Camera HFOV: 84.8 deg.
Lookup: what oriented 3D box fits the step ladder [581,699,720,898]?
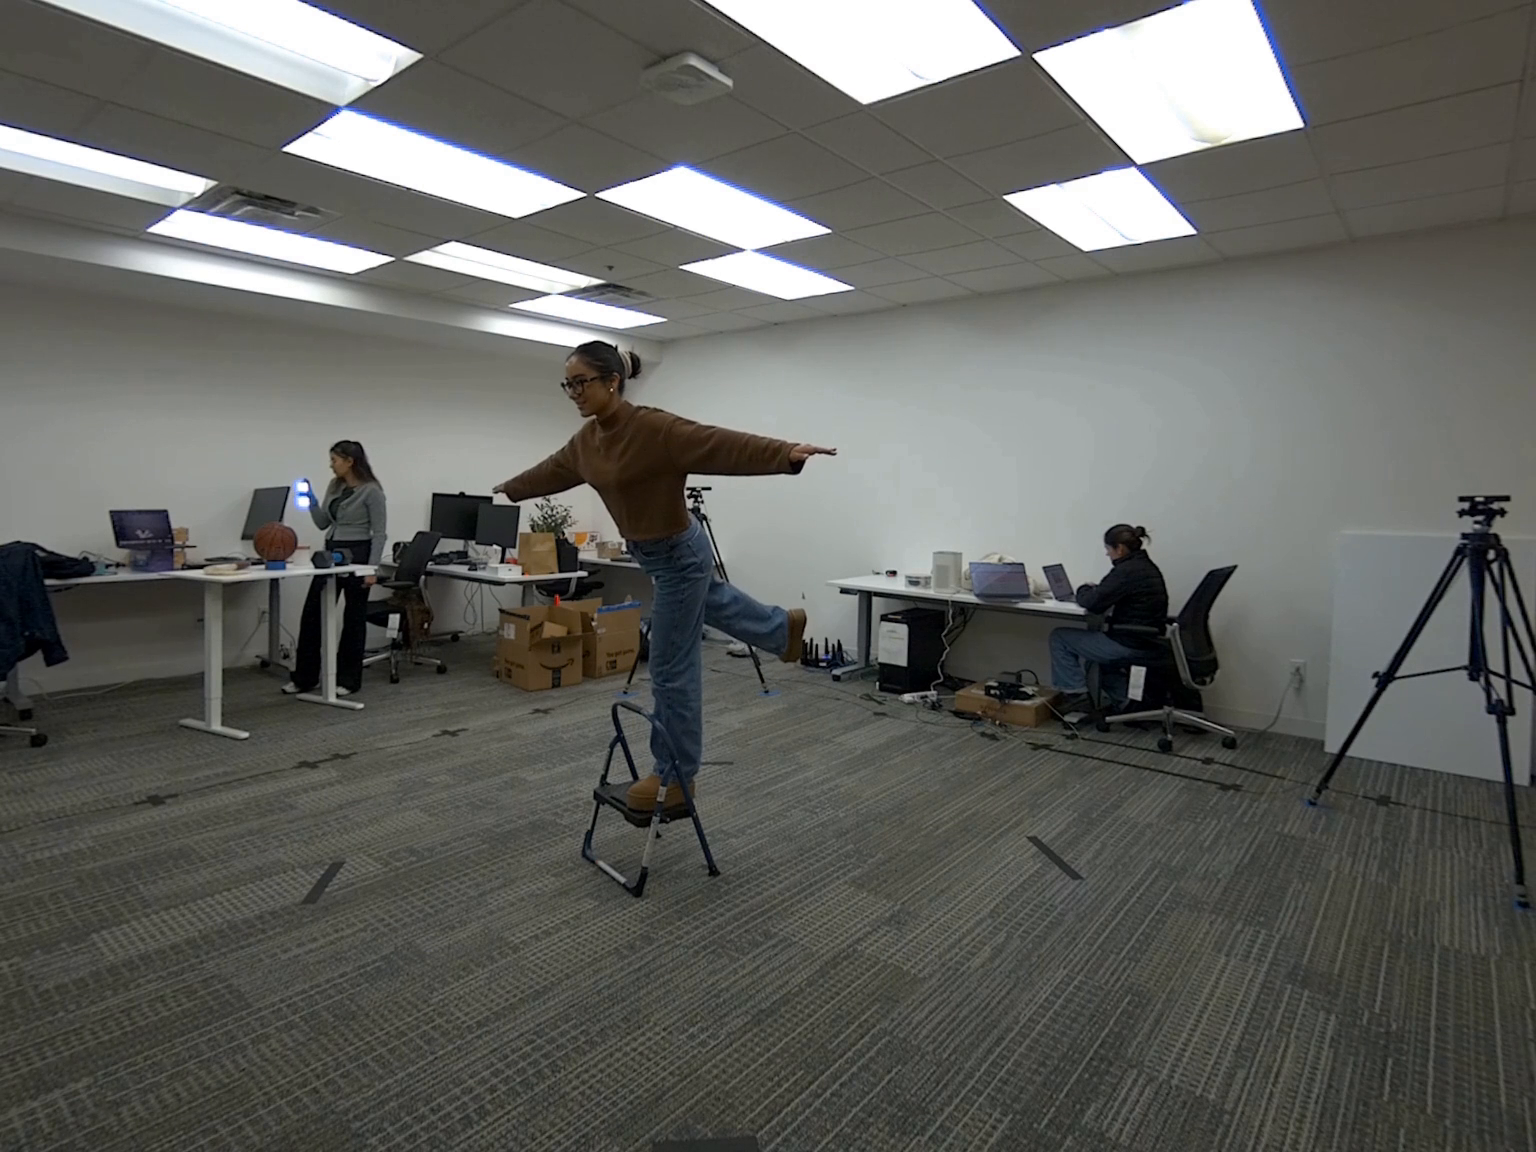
[{"bbox_3d":[-0.447,0.760,3.116,0.339,0.604,0.445,-2,5,-39],"label":"step ladder"}]
